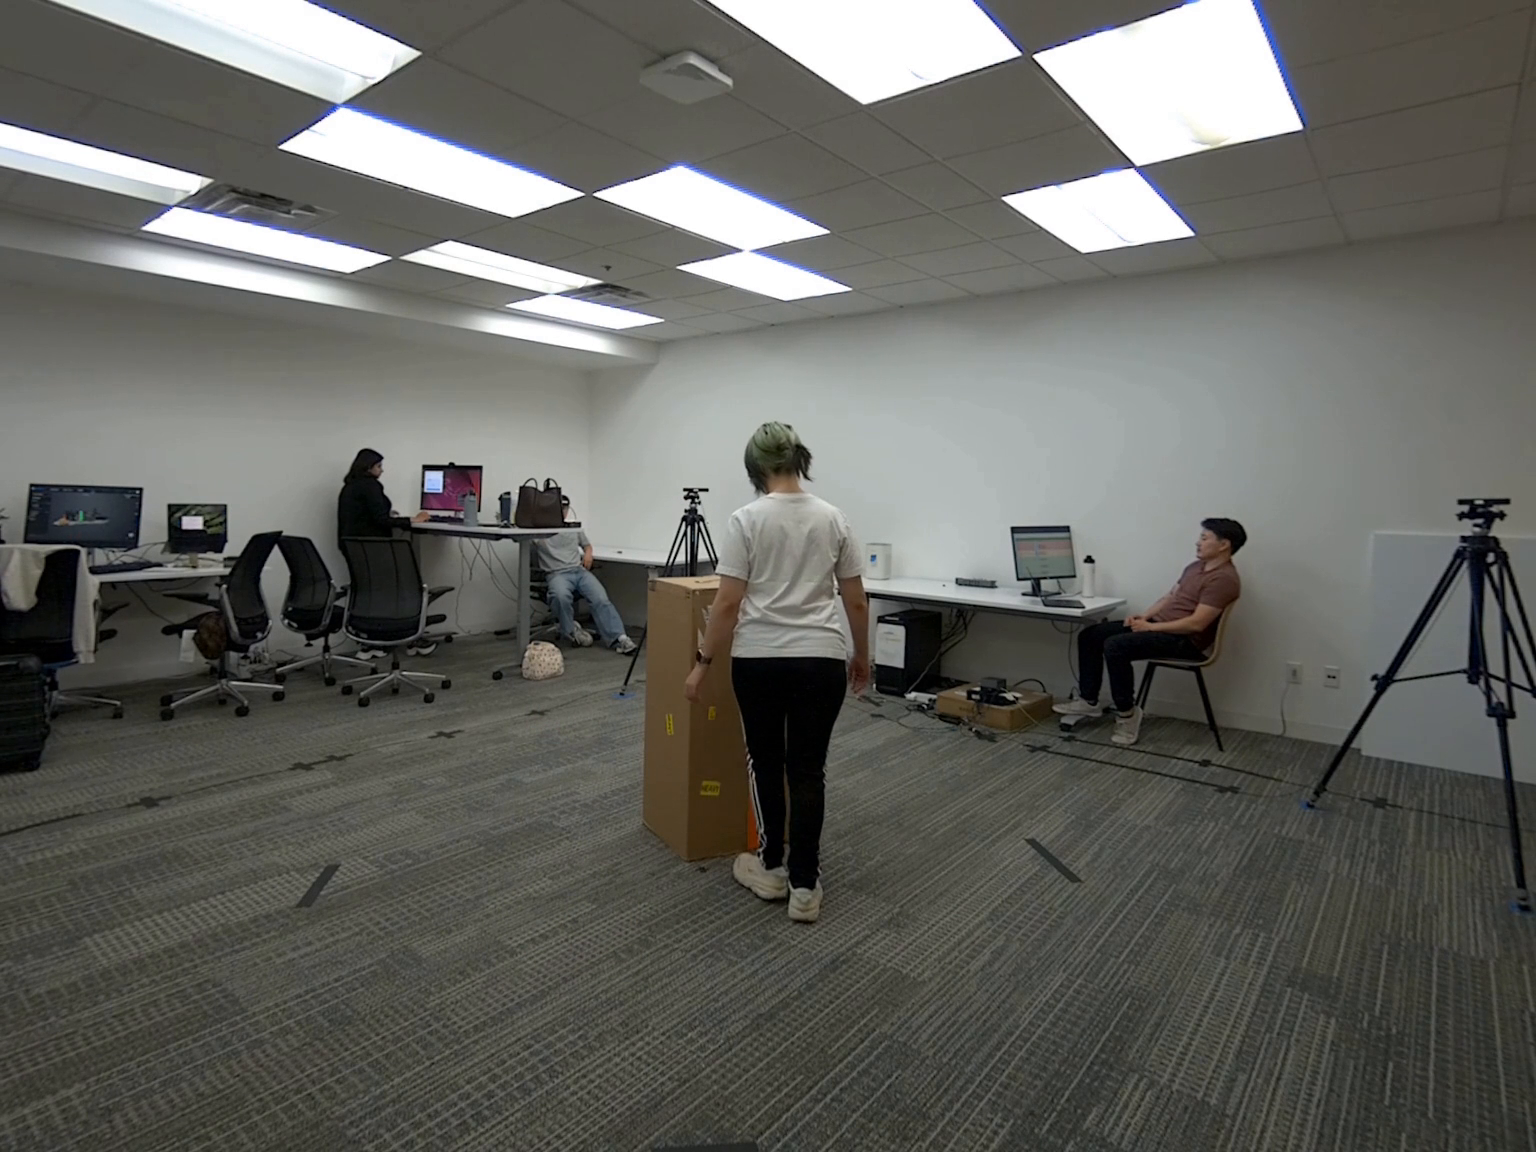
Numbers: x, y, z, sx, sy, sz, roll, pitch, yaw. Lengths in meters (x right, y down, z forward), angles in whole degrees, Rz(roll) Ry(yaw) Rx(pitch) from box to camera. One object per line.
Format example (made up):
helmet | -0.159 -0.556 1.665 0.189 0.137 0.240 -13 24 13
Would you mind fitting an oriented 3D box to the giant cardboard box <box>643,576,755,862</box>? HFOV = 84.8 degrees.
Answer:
giant cardboard box | -0.166 0.529 3.457 0.568 1.025 0.460 0 3 -31
